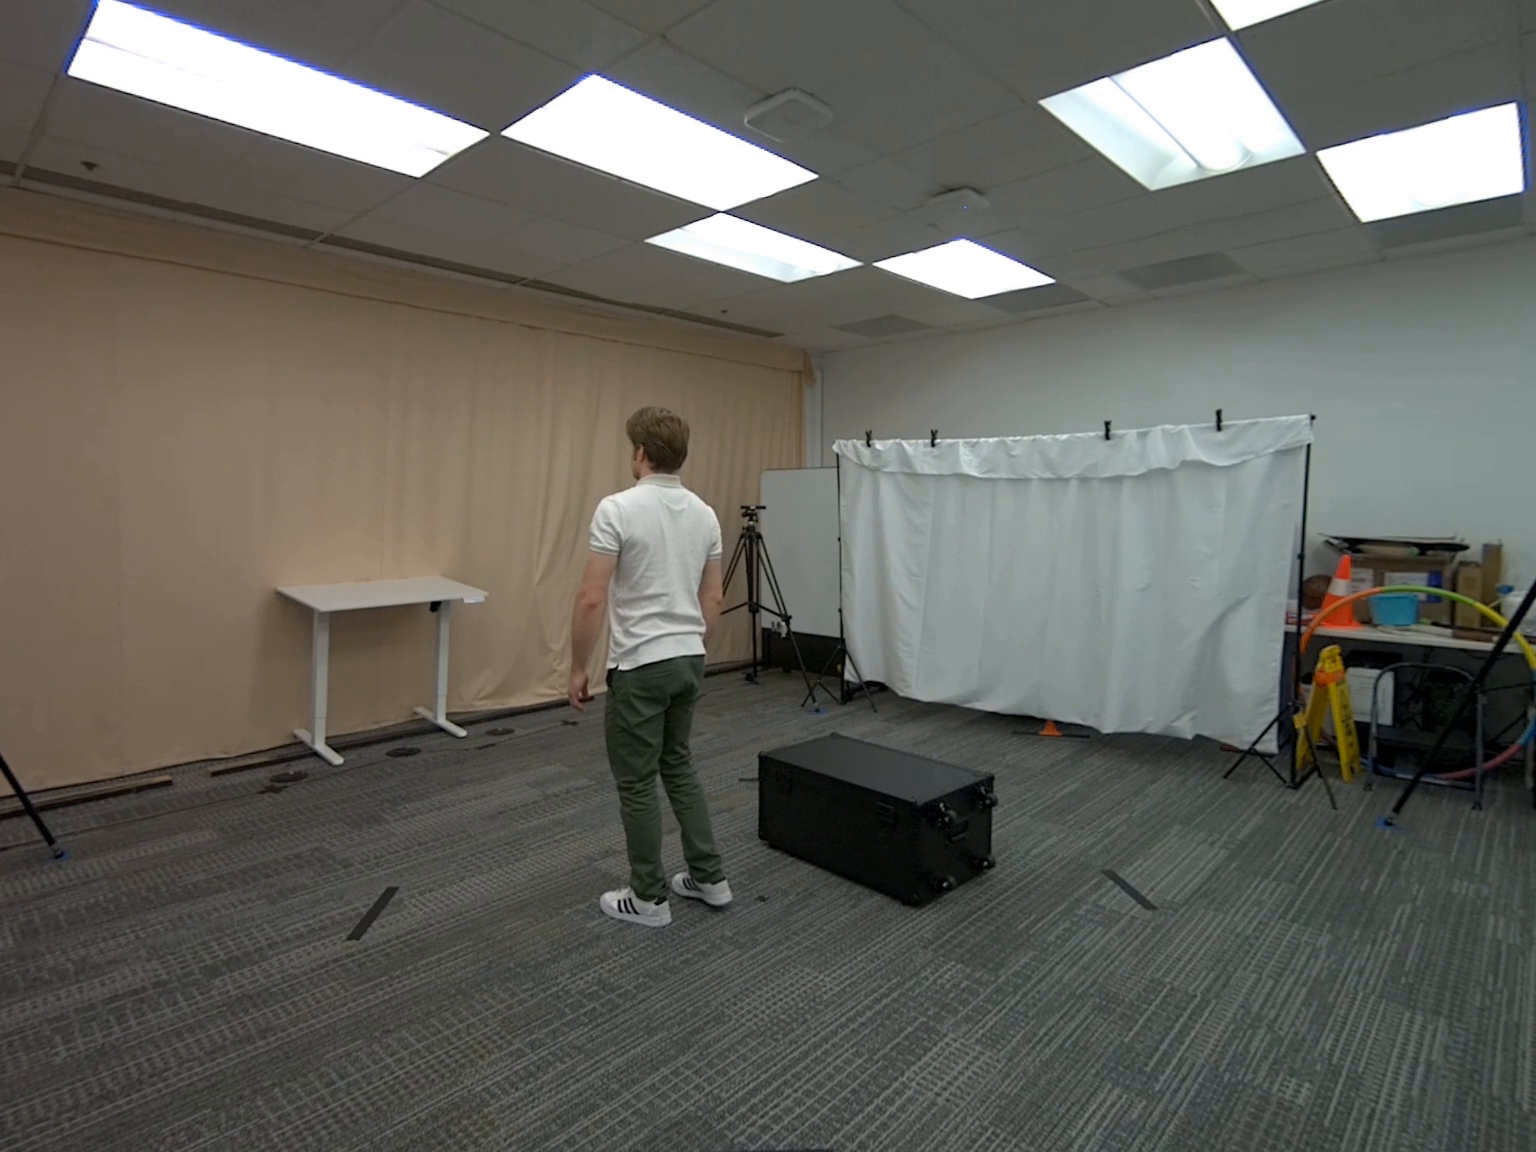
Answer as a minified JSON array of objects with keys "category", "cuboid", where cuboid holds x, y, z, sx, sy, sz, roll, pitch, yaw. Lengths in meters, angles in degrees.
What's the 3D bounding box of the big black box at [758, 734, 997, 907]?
[{"category":"big black box","cuboid":[0.432,0.921,3.290,0.507,0.384,0.898,-2,4,-44]}]
